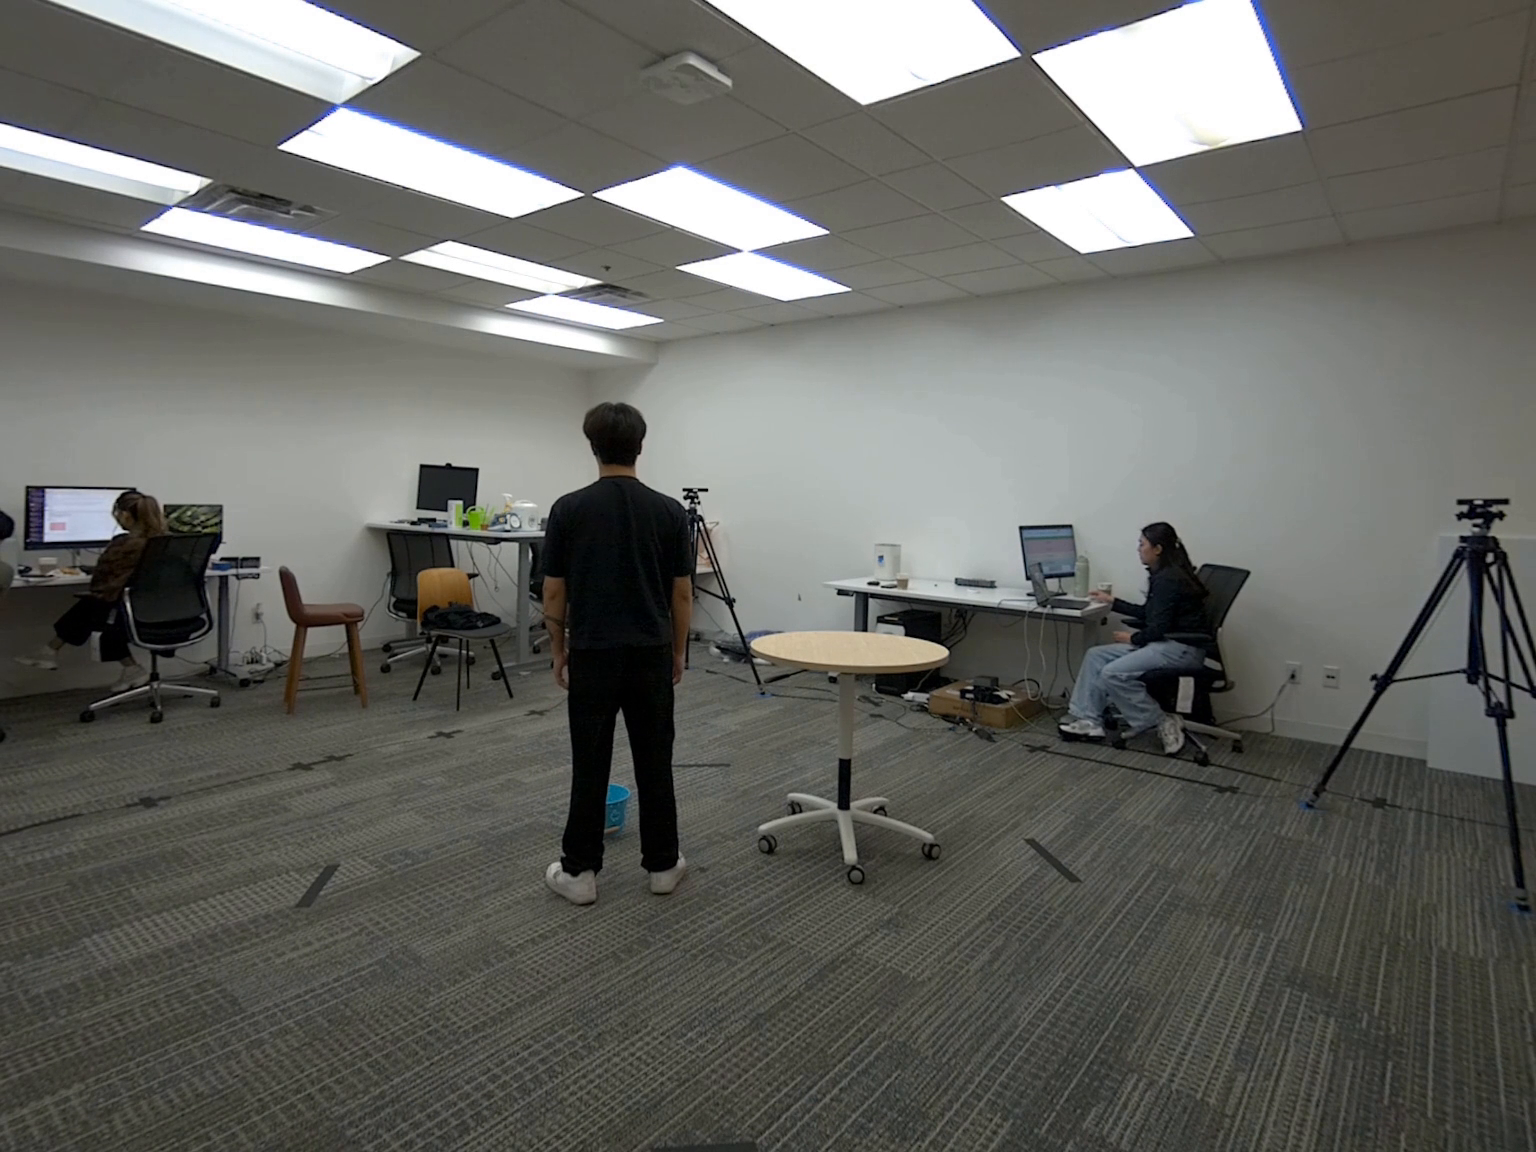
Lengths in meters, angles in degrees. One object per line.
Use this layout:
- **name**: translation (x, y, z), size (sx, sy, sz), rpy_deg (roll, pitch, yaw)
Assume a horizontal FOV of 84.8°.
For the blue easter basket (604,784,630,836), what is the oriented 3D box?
- **blue easter basket**: translation (-0.689, 0.950, 3.450), size (0.243, 0.155, 0.245), rpy_deg (0, 5, -2)
